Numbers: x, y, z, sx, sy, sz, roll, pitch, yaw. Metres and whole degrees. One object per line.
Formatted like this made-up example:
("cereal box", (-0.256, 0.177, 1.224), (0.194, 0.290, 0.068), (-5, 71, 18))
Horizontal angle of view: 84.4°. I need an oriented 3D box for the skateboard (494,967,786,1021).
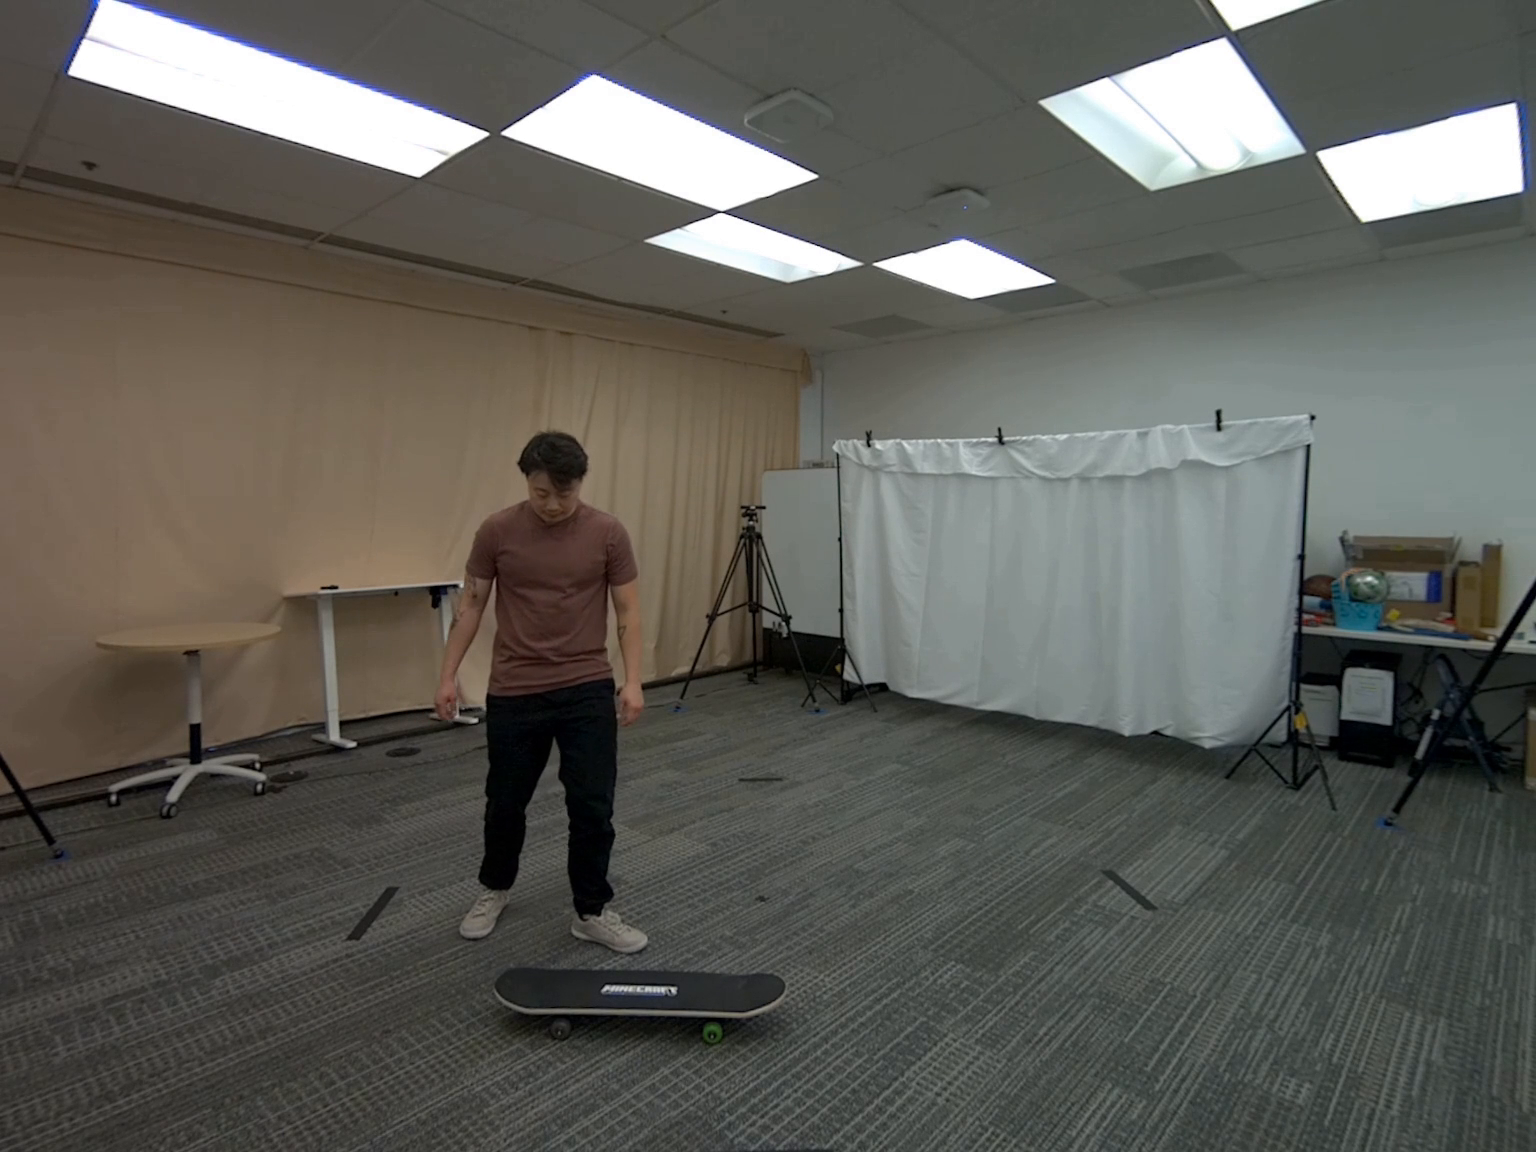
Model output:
("skateboard", (-0.343, 1.154, 2.262), (0.788, 0.110, 0.193), (-1, 4, 3))
